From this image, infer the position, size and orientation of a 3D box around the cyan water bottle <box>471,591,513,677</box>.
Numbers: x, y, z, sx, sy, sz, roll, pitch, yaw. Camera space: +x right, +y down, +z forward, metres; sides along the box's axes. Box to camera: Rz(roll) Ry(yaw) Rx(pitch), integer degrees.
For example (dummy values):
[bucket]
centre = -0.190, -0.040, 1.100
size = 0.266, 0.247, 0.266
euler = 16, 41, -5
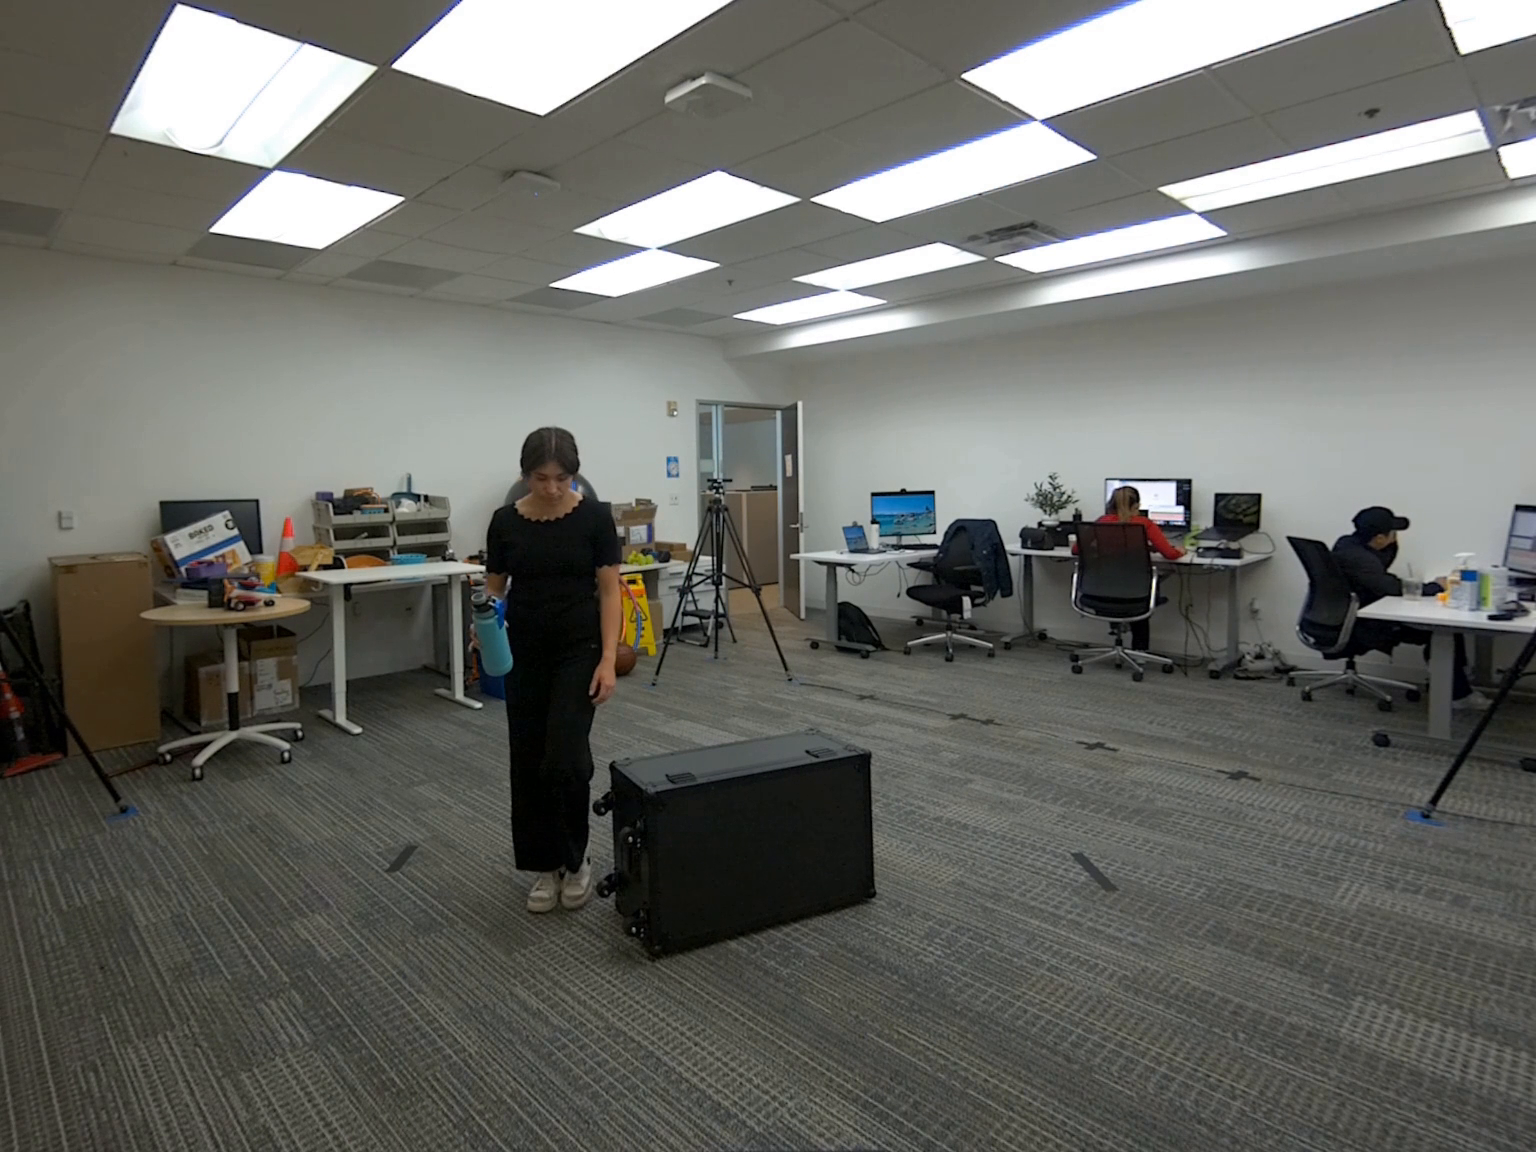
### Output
[cyan water bottle]
centre = -0.844, 0.175, 2.594
size = 0.092, 0.276, 0.095
euler = 0, 35, -1
